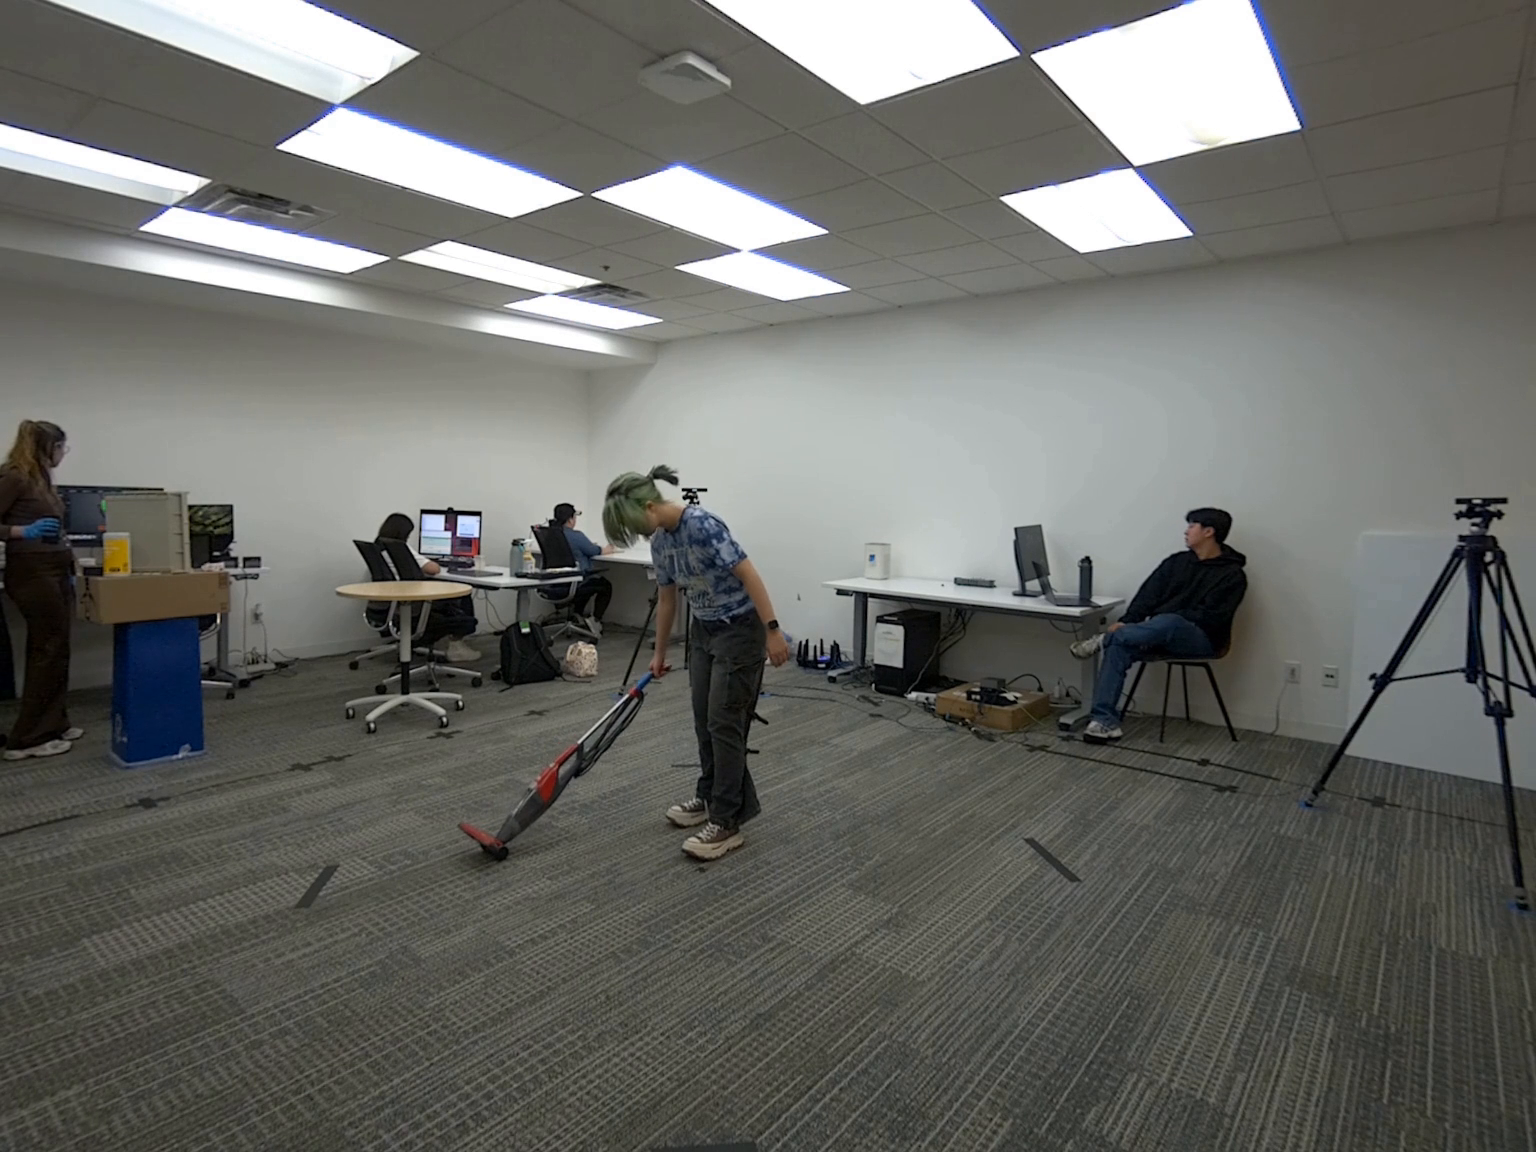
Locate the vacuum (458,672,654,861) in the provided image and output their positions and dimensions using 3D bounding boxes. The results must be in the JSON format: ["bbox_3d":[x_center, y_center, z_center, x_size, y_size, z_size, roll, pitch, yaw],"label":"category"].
[{"bbox_3d":[-0.757,0.712,3.449,0.261,0.140,1.044,6,39,46],"label":"vacuum"}]
